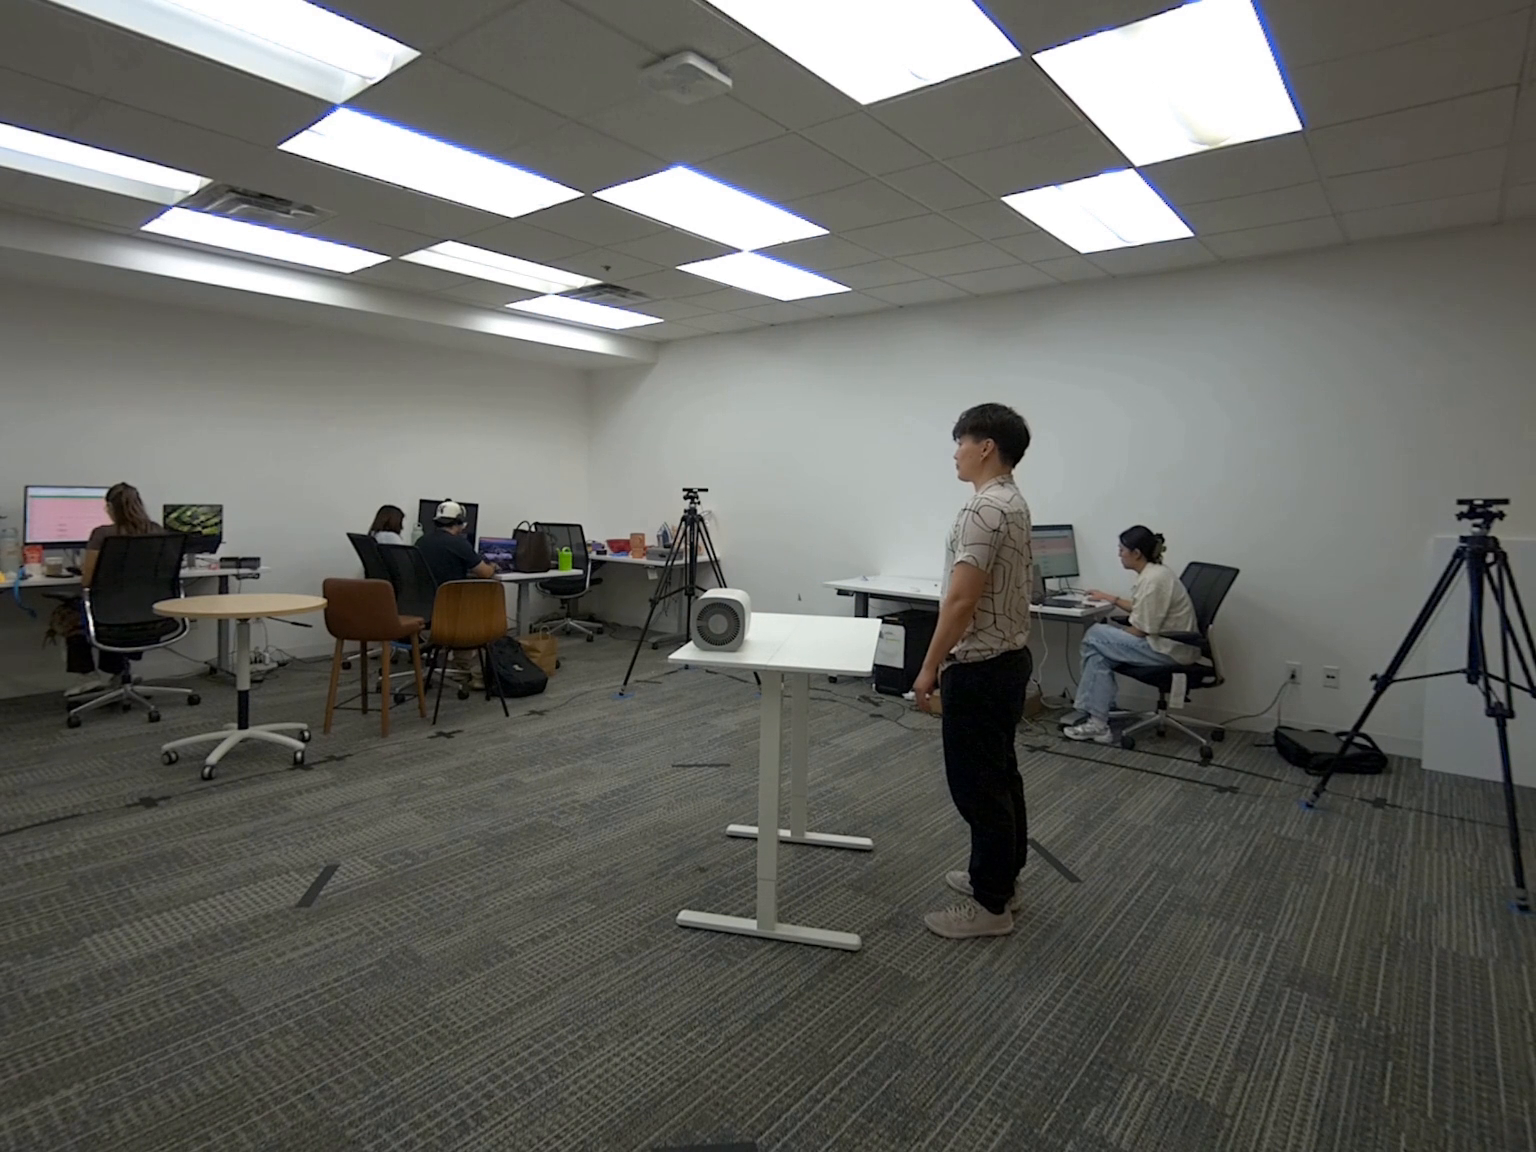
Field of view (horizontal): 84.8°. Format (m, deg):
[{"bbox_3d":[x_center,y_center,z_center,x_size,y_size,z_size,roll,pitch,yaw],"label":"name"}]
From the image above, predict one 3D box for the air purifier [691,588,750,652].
[{"bbox_3d":[-0.157,0.134,2.787,0.173,0.170,0.264,-1,5,6],"label":"air purifier"}]
